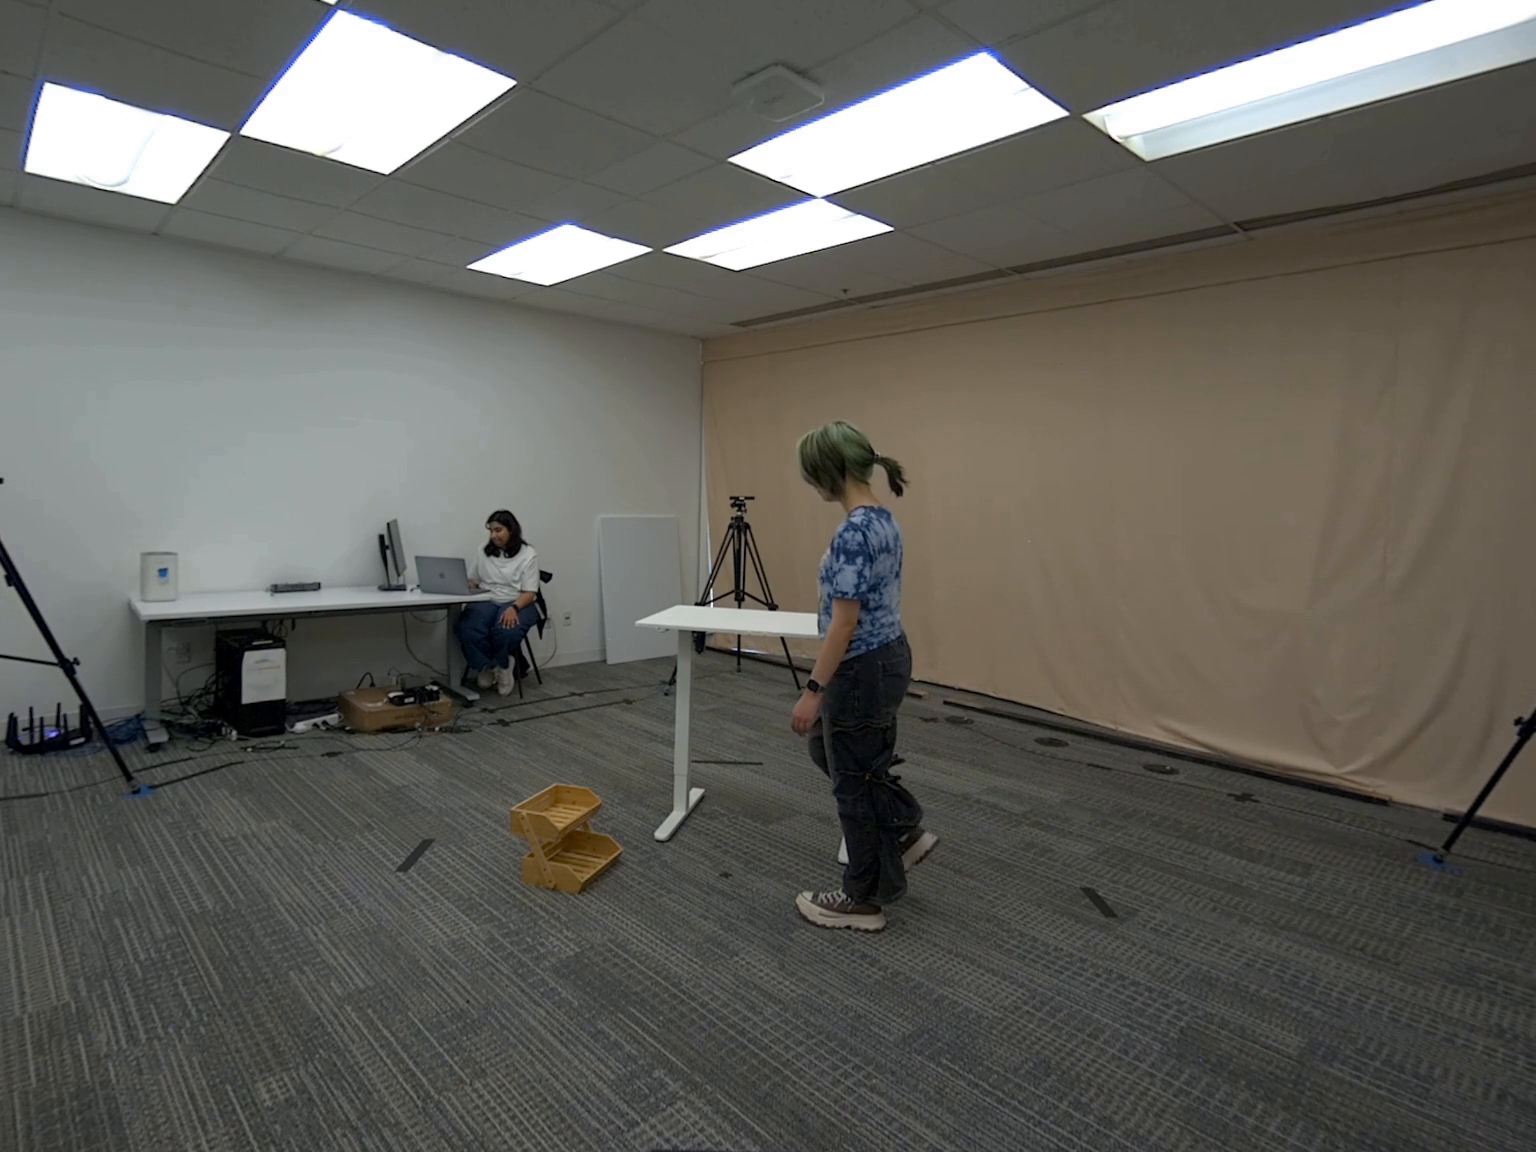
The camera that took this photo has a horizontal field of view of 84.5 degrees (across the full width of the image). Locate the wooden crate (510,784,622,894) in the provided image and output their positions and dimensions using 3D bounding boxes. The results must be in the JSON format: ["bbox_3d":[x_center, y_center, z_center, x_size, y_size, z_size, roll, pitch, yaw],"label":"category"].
[{"bbox_3d":[-0.744,0.959,3.110,0.307,0.272,0.320,2,5,19],"label":"wooden crate"}]
